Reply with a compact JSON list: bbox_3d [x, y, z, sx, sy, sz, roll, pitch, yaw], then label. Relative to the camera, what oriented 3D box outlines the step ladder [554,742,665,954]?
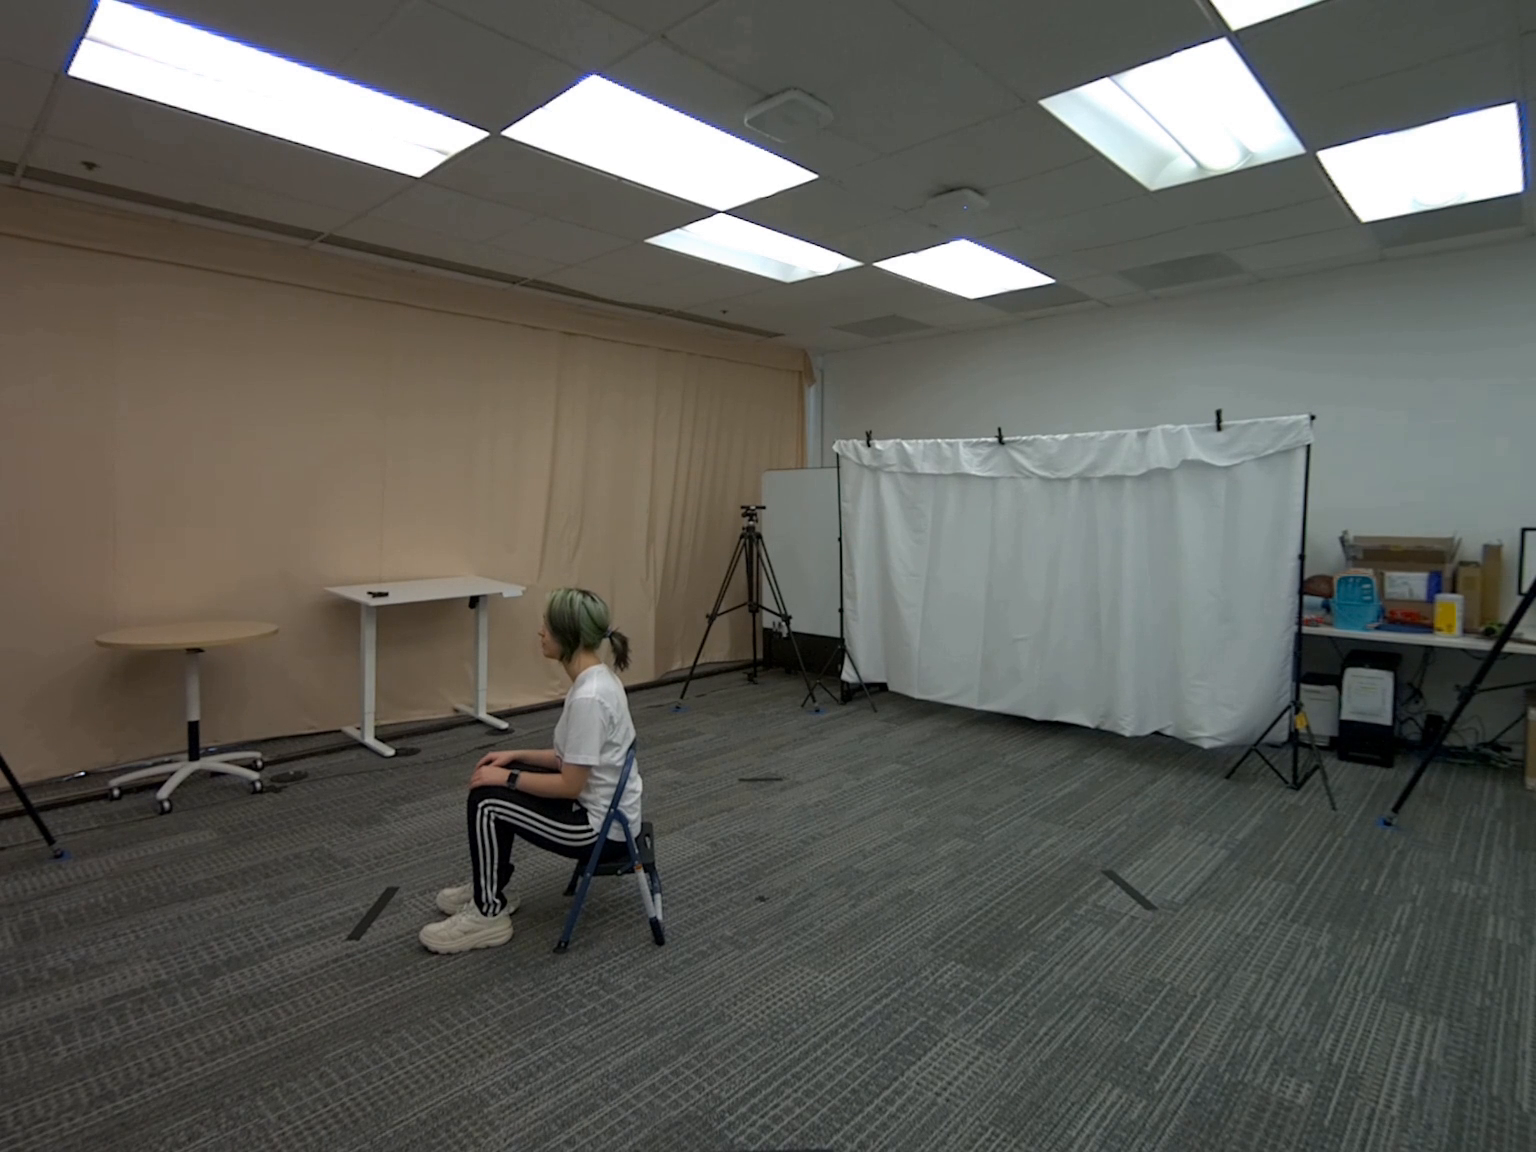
[{"bbox_3d":[-0.531,0.867,2.832,0.346,0.605,0.435,-2,4,-8],"label":"step ladder"}]
